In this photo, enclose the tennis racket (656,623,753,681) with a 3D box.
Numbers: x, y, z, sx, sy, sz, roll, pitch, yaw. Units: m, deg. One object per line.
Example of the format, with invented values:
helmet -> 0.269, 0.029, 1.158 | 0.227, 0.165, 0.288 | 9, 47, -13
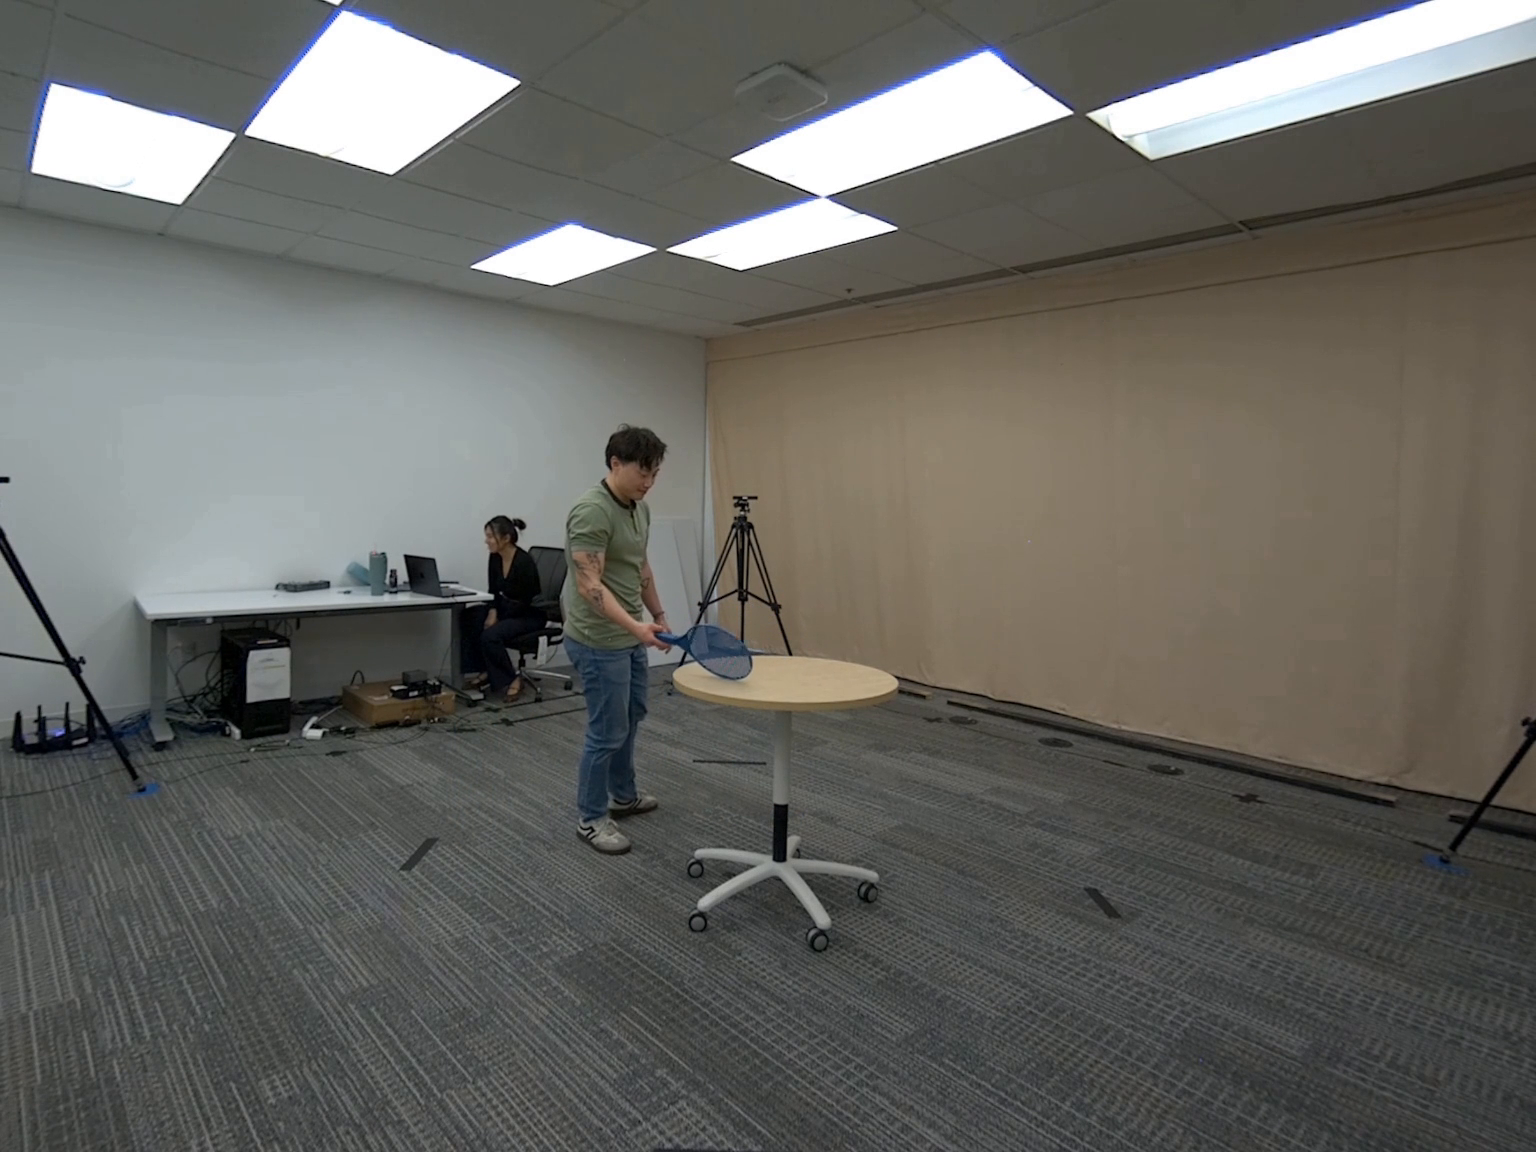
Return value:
tennis racket -> -0.238, 0.238, 2.814 | 0.443, 0.209, 0.032 | 10, 34, 30
